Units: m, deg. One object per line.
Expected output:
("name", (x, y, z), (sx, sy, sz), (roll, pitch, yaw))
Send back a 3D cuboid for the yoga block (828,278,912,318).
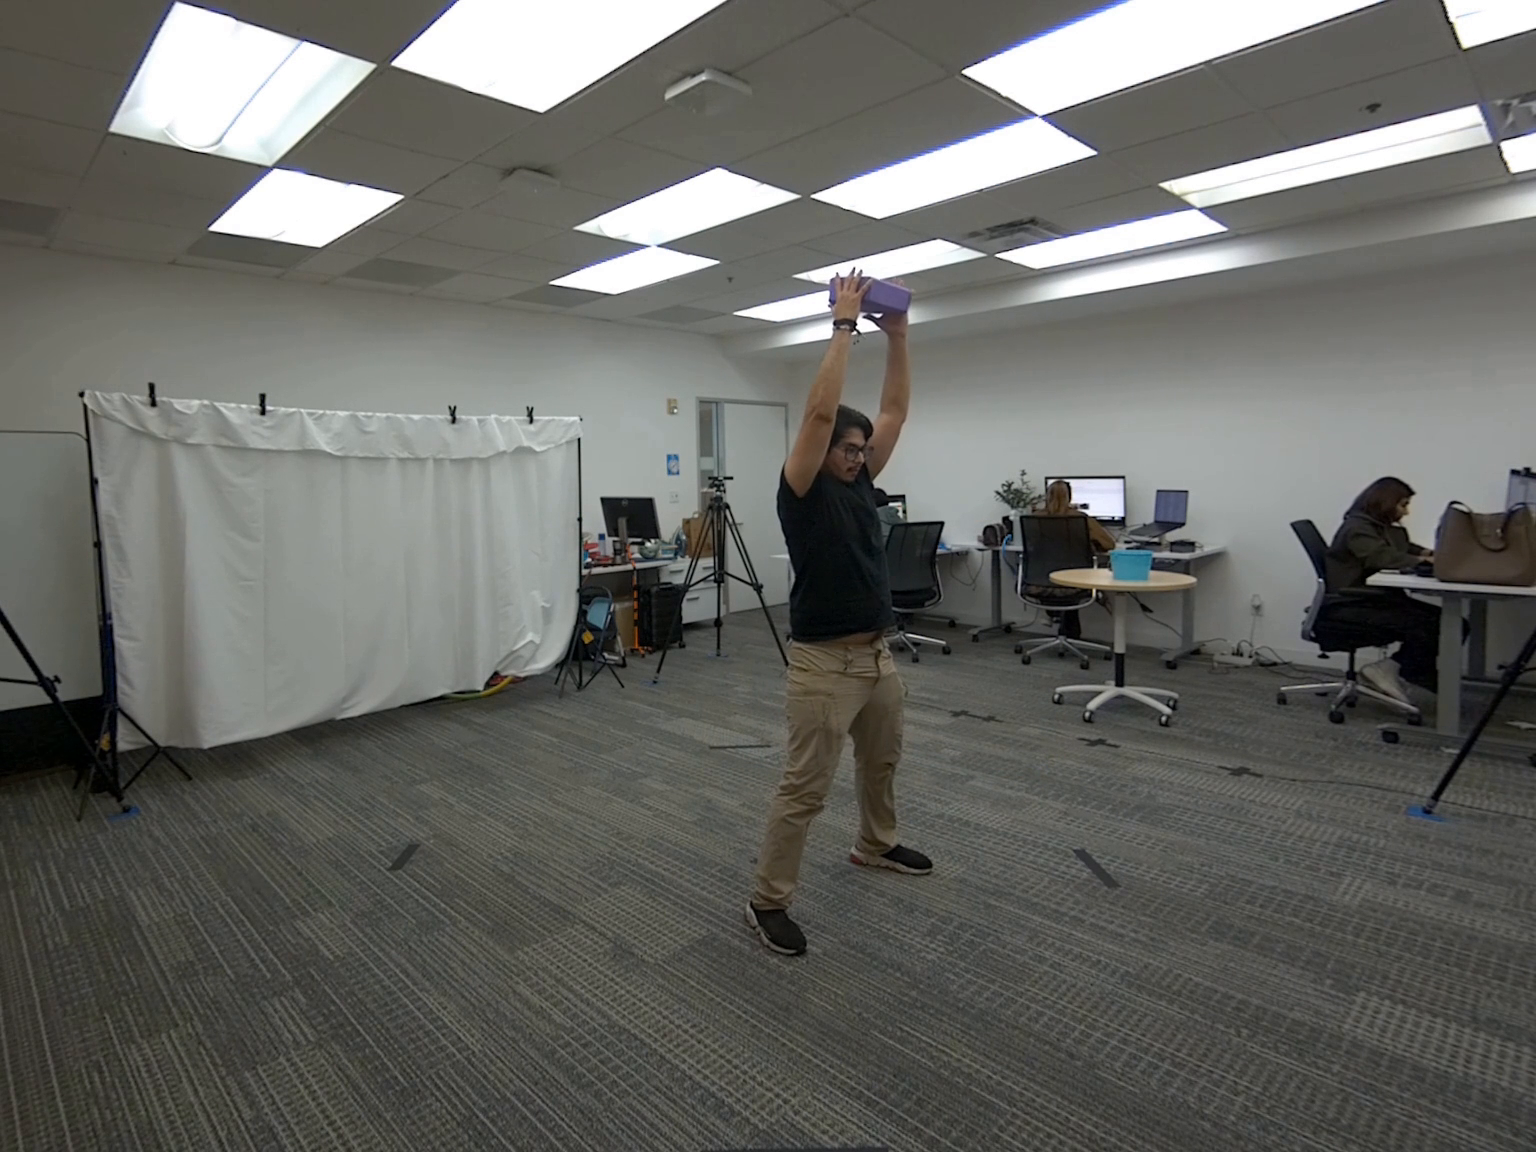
("yoga block", (0.311, -0.845, 2.561), (0.154, 0.076, 0.223), (18, 16, 39))
